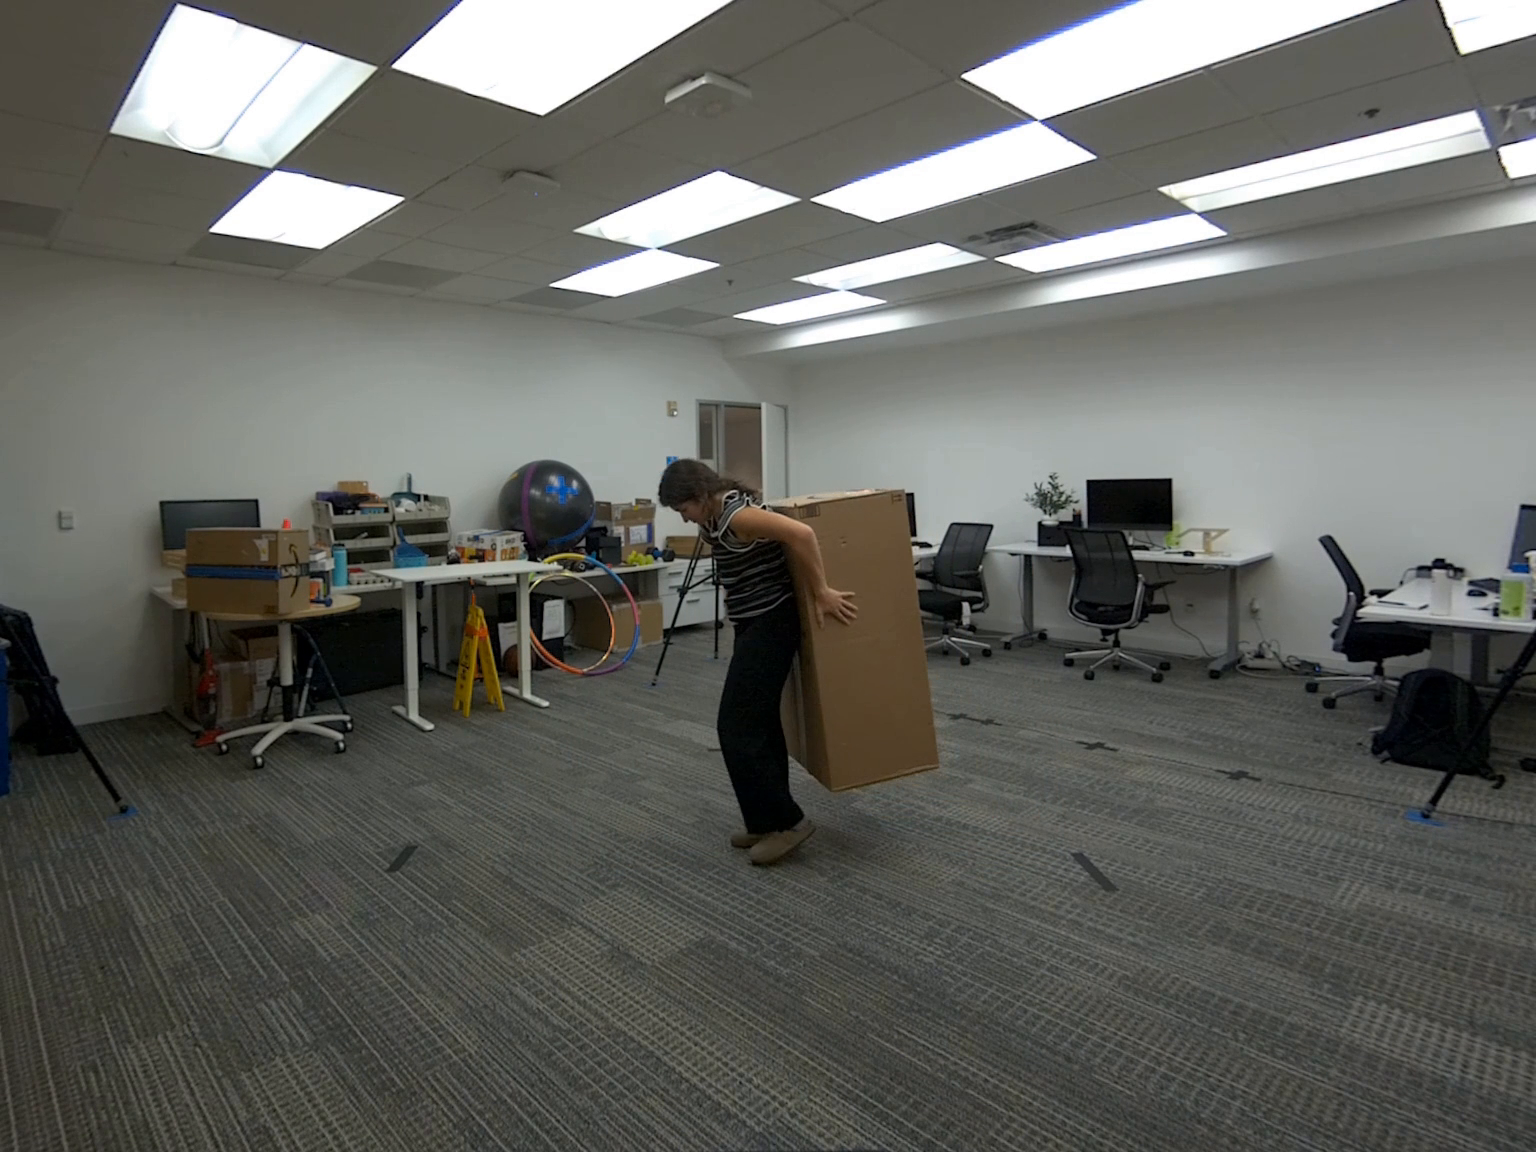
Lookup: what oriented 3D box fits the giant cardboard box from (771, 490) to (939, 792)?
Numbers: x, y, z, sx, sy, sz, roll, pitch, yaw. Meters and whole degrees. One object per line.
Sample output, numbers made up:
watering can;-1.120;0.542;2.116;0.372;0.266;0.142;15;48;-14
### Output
giant cardboard box;0.277;0.206;3.286;0.421;1.022;0.587;-9;4;-16
